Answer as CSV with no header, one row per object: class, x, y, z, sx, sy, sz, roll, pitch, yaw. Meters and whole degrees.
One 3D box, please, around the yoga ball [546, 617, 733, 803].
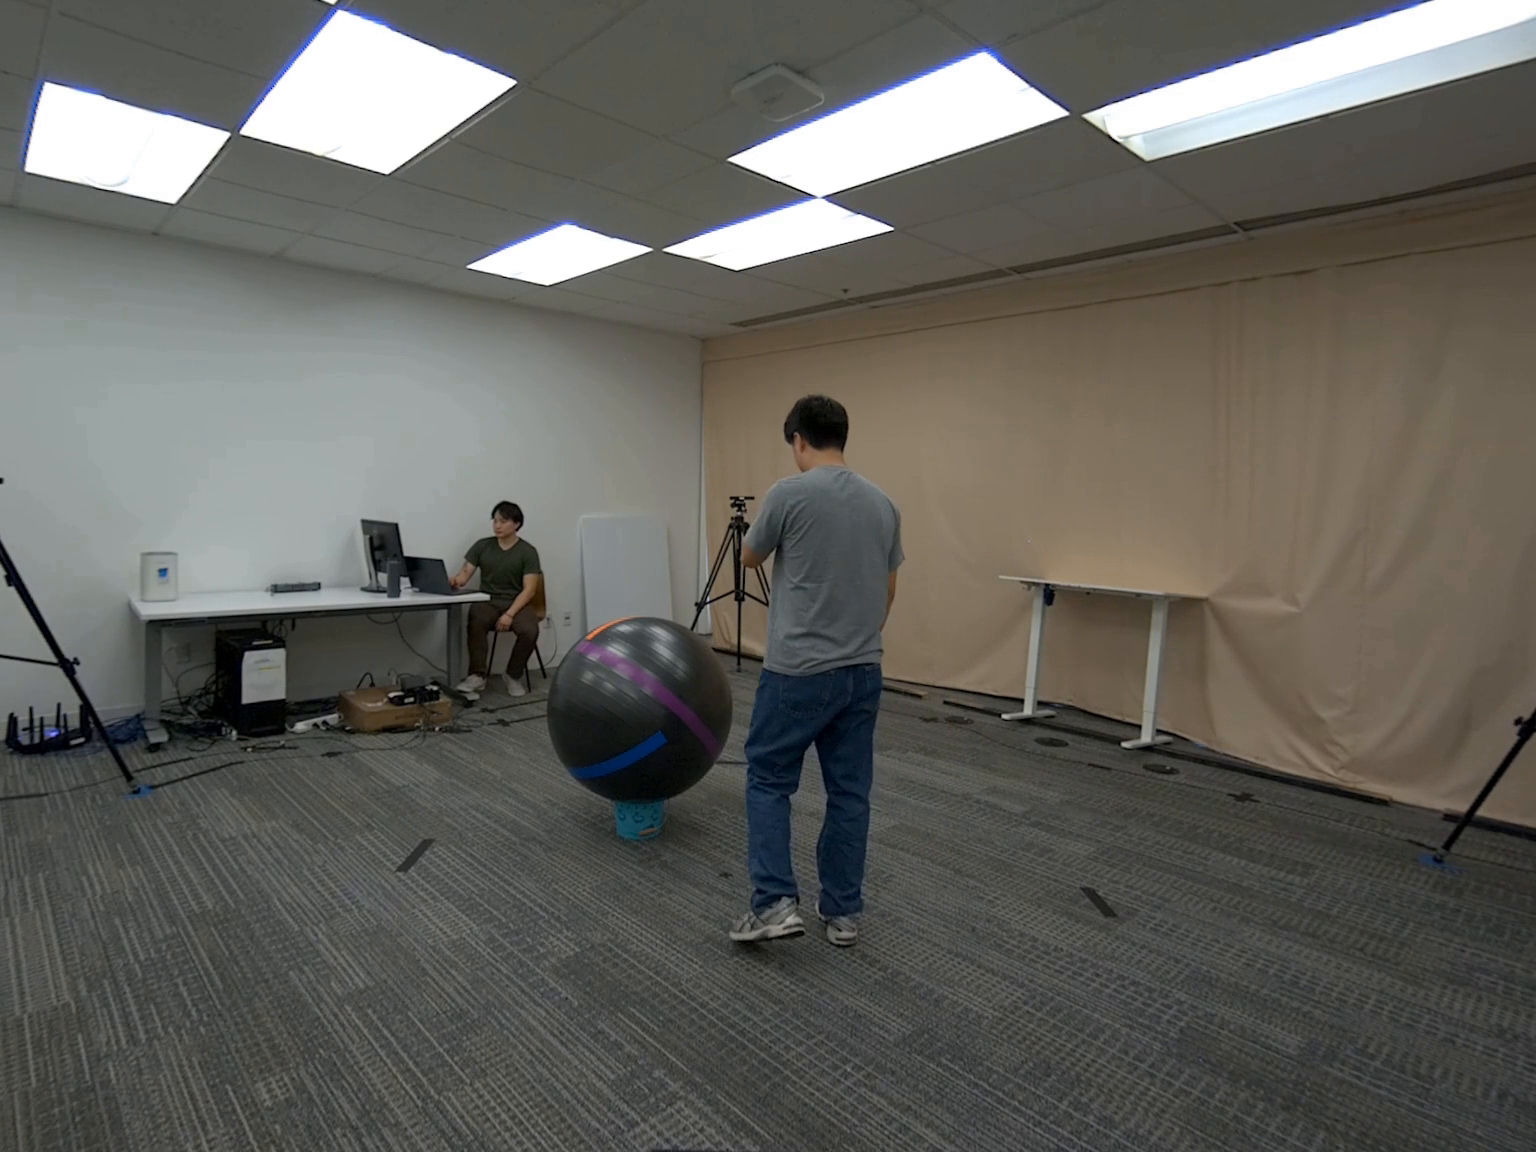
yoga ball,-0.536,0.549,3.491,0.757,0.756,0.761,1,4,-1
